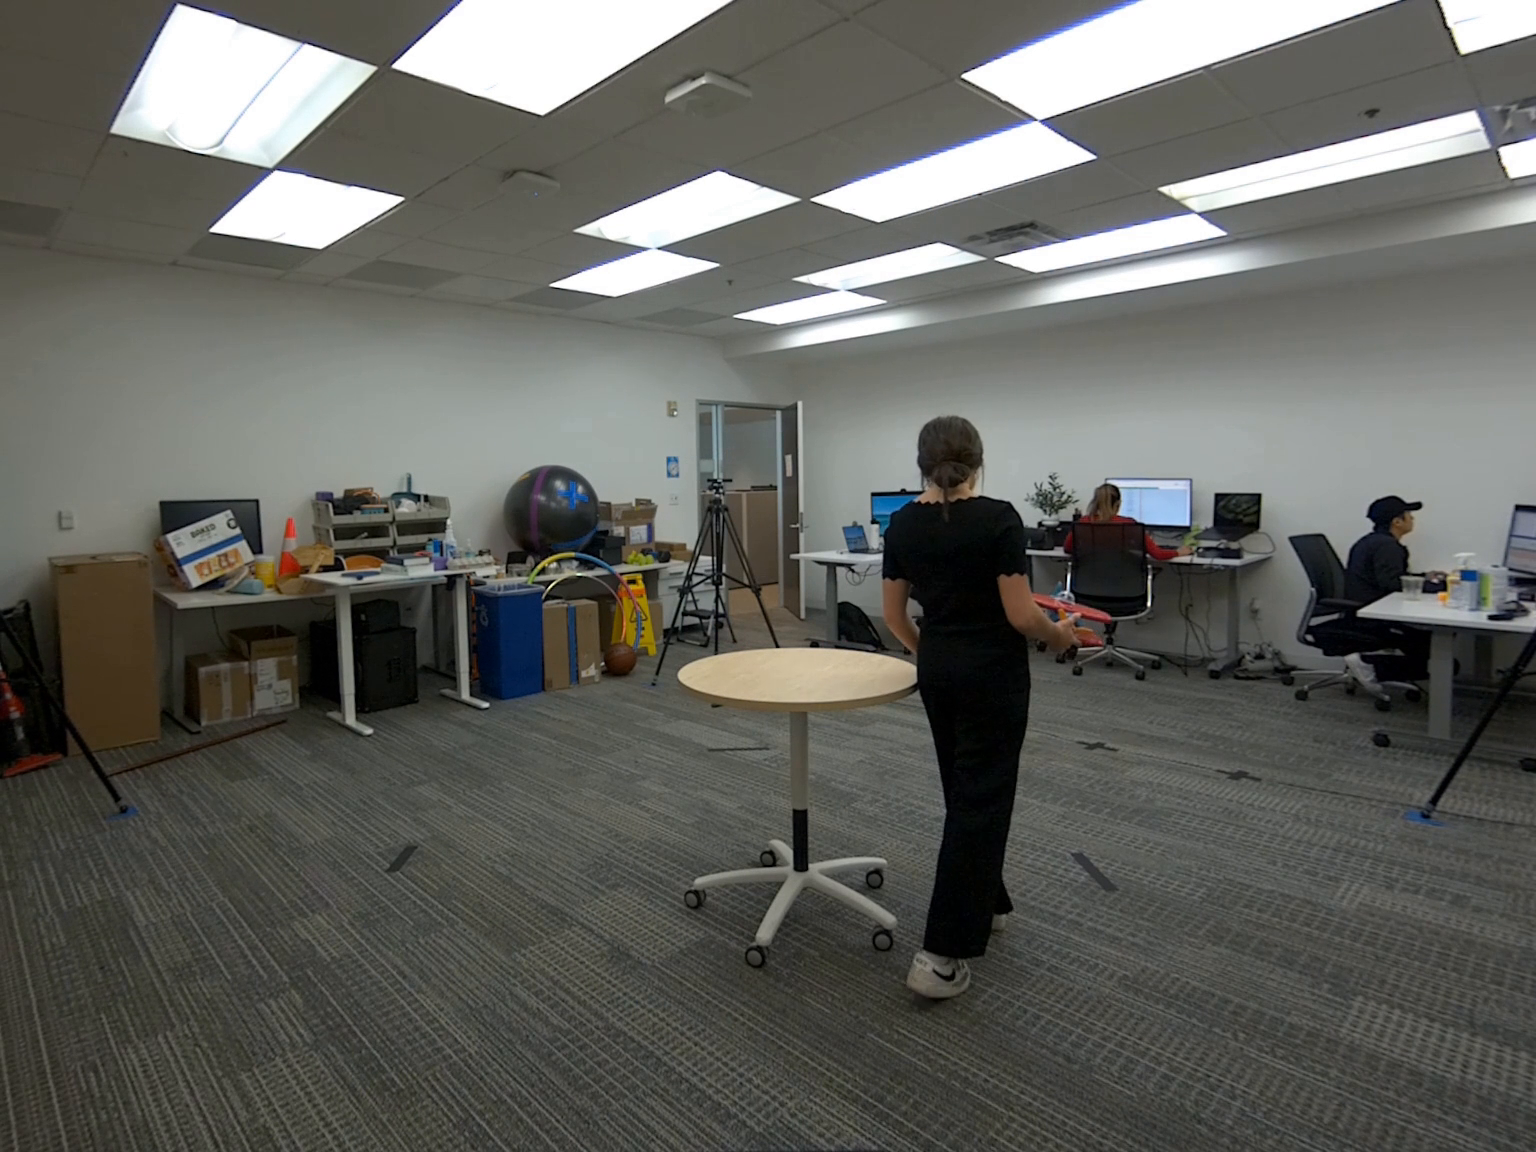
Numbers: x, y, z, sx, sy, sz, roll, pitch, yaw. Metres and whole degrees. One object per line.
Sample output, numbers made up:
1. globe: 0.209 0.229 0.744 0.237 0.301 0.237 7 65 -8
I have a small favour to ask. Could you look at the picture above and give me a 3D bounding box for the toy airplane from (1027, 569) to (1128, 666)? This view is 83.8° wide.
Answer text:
1. toy airplane: 0.870 0.119 2.589 0.247 0.153 0.268 0 35 -18
